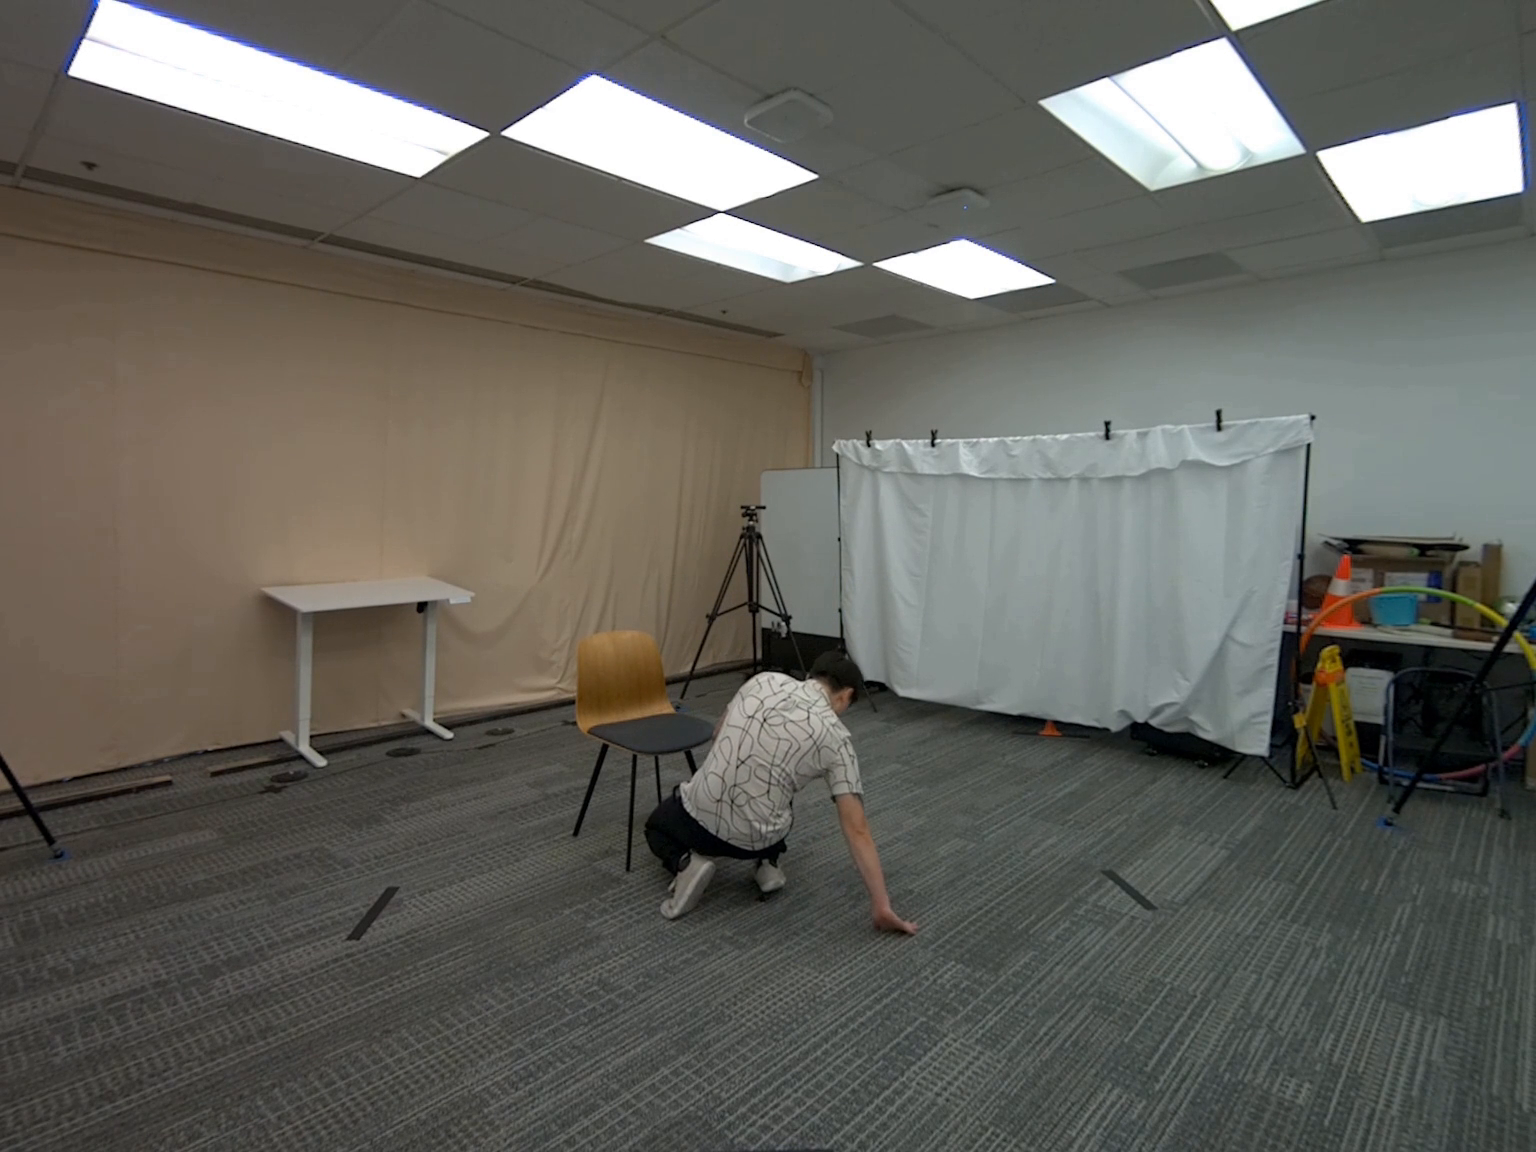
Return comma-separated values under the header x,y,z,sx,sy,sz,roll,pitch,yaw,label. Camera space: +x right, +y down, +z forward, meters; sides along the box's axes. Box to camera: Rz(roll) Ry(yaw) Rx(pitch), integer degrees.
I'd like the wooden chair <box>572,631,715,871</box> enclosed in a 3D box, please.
x,y,z,sx,sy,sz,roll,pitch,yaw,label
-0.507,0.679,3.493,0.464,0.878,0.539,-2,-1,-38,wooden chair
